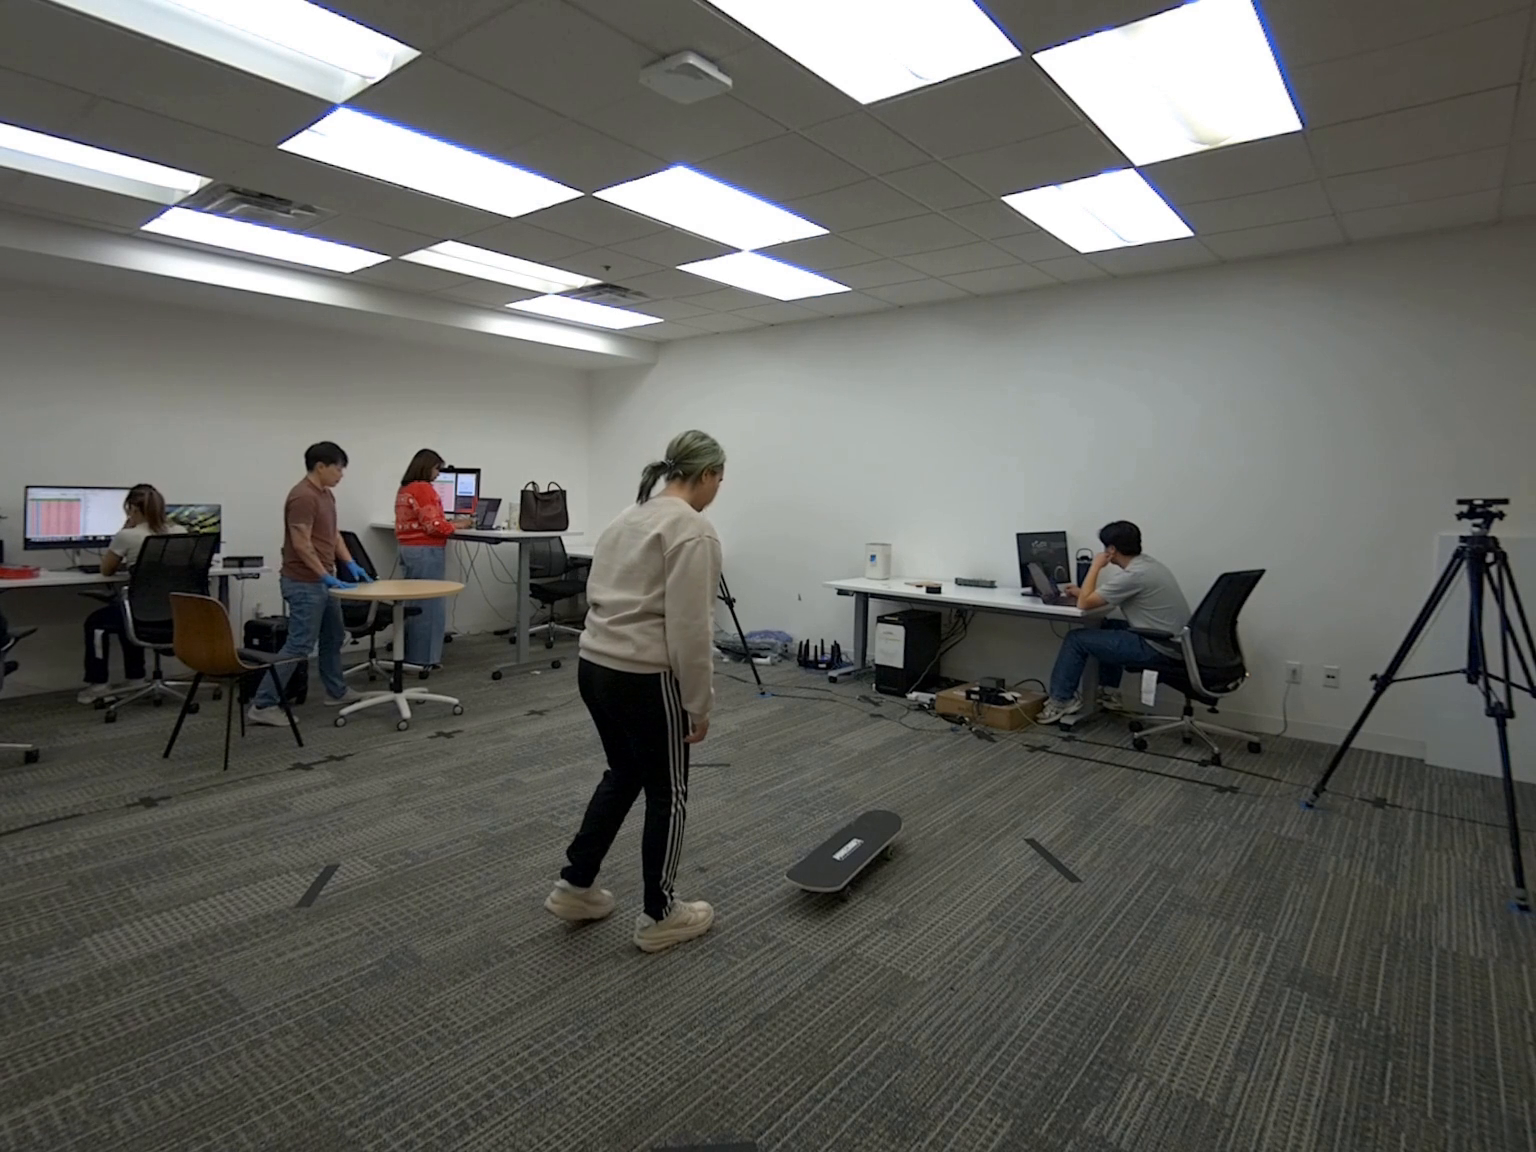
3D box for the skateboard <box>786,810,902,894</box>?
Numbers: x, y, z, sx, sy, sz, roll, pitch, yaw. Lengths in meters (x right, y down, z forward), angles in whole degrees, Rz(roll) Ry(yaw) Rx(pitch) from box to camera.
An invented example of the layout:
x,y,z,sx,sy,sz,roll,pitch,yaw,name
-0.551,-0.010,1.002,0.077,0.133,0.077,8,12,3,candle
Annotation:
x,y,z,sx,sy,sz,roll,pitch,yaw,name
0.292,1.027,3.101,0.199,0.110,0.766,4,7,29,skateboard
